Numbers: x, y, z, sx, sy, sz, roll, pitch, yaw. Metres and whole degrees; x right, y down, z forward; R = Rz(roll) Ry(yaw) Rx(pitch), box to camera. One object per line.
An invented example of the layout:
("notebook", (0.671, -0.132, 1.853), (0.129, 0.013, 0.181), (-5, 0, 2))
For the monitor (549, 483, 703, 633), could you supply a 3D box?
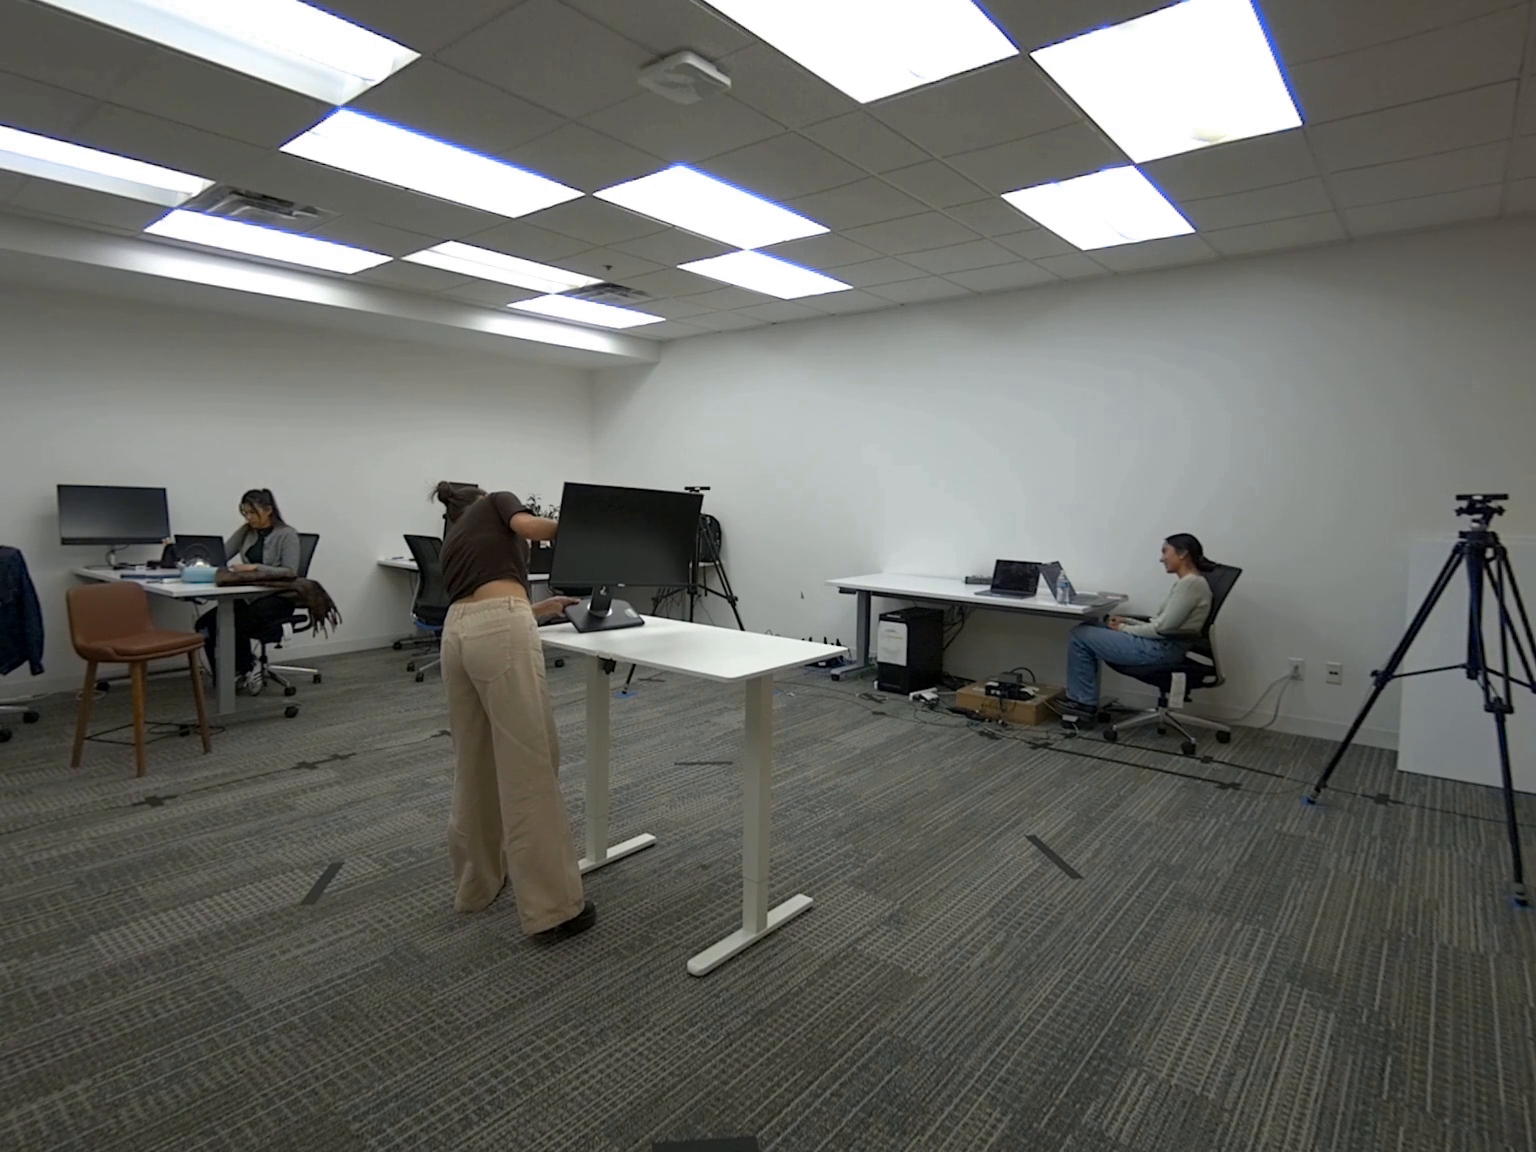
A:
("monitor", (-0.535, -0.071, 2.959), (0.522, 0.516, 0.195), (1, 29, -37))
